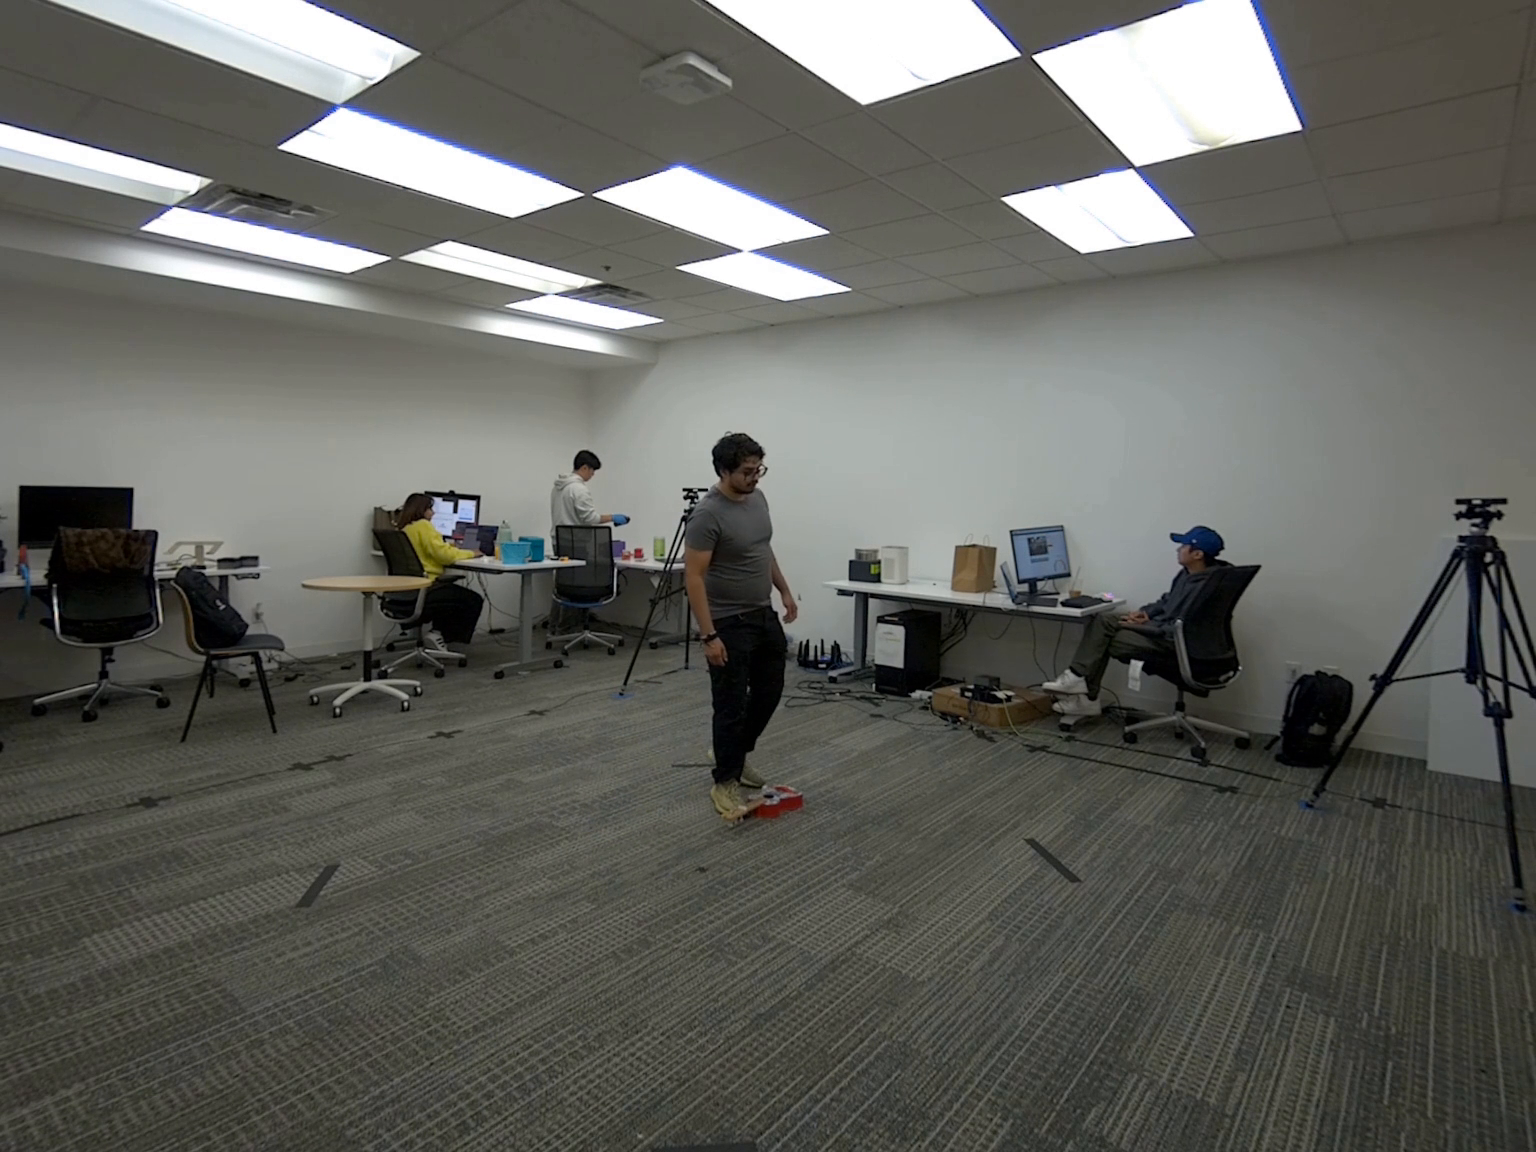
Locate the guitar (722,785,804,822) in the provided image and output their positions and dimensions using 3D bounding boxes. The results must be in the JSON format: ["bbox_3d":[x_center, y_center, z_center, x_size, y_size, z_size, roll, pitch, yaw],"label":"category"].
[{"bbox_3d":[-0.067,0.987,3.669,0.200,0.070,0.483,6,8,44],"label":"guitar"}]
